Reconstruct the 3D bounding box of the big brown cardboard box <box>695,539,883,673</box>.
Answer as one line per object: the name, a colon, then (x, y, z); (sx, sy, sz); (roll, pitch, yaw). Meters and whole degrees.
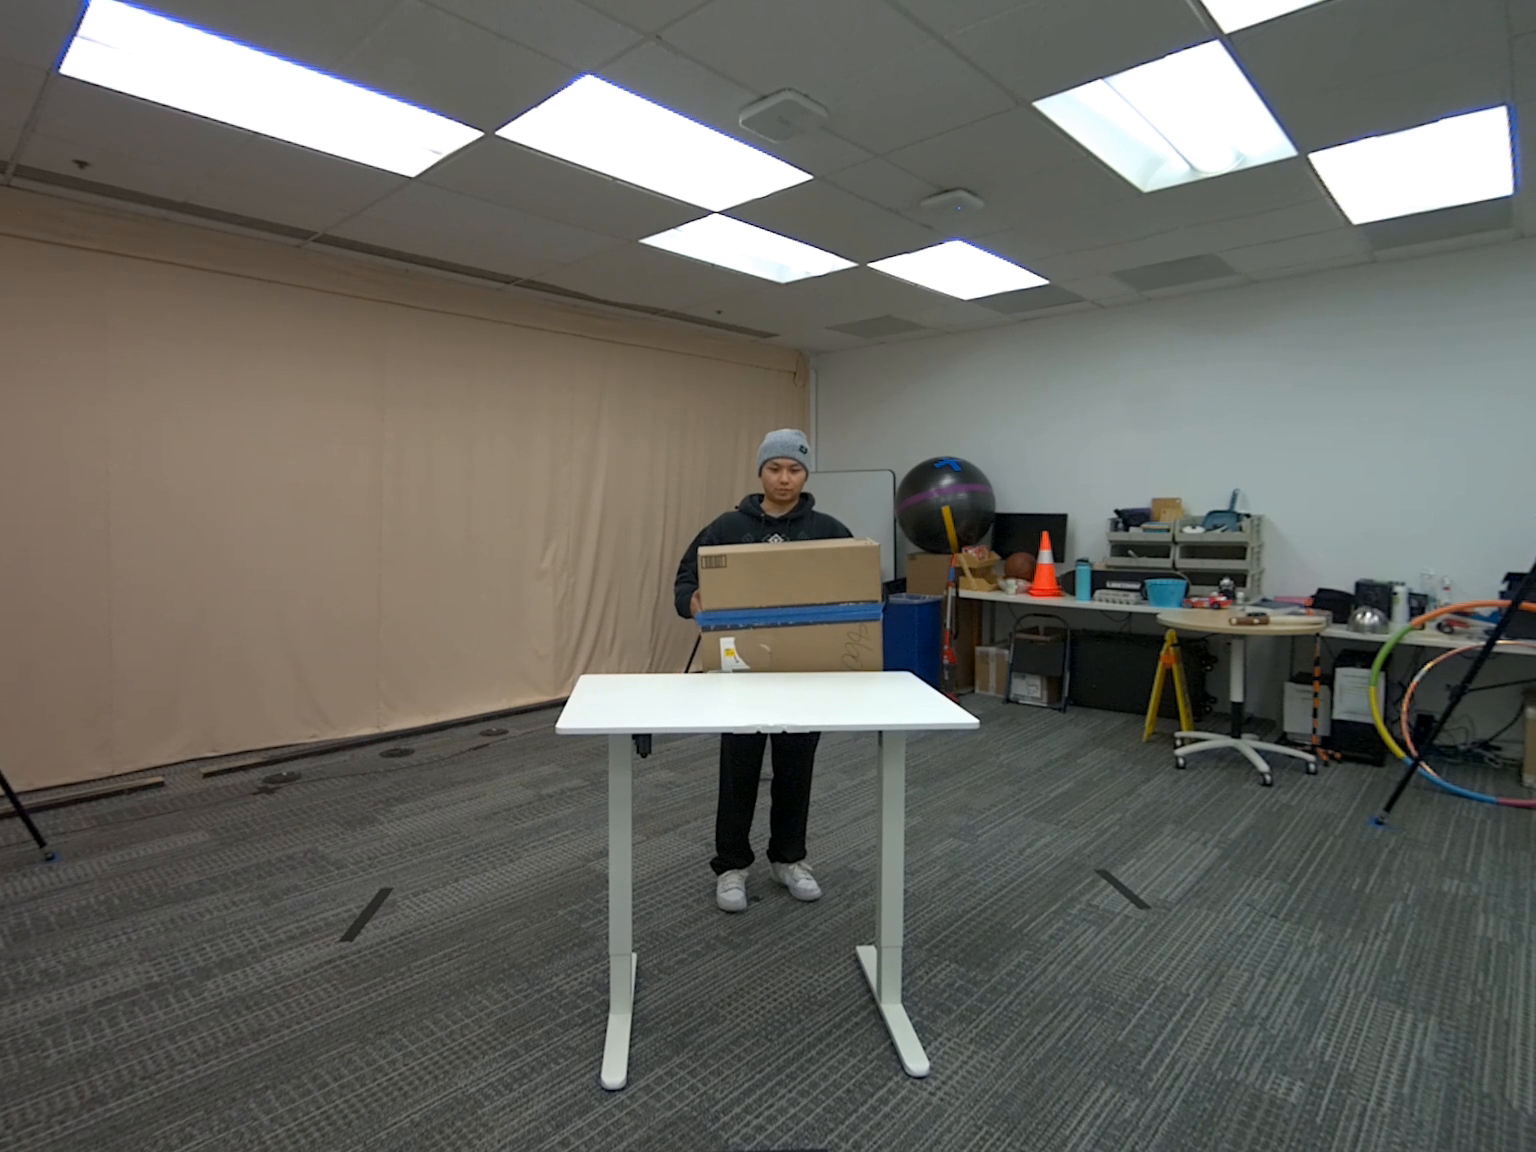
big brown cardboard box: (0.058, 0.105, 2.718); (0.588, 0.415, 0.234); (-3, 7, -1)
